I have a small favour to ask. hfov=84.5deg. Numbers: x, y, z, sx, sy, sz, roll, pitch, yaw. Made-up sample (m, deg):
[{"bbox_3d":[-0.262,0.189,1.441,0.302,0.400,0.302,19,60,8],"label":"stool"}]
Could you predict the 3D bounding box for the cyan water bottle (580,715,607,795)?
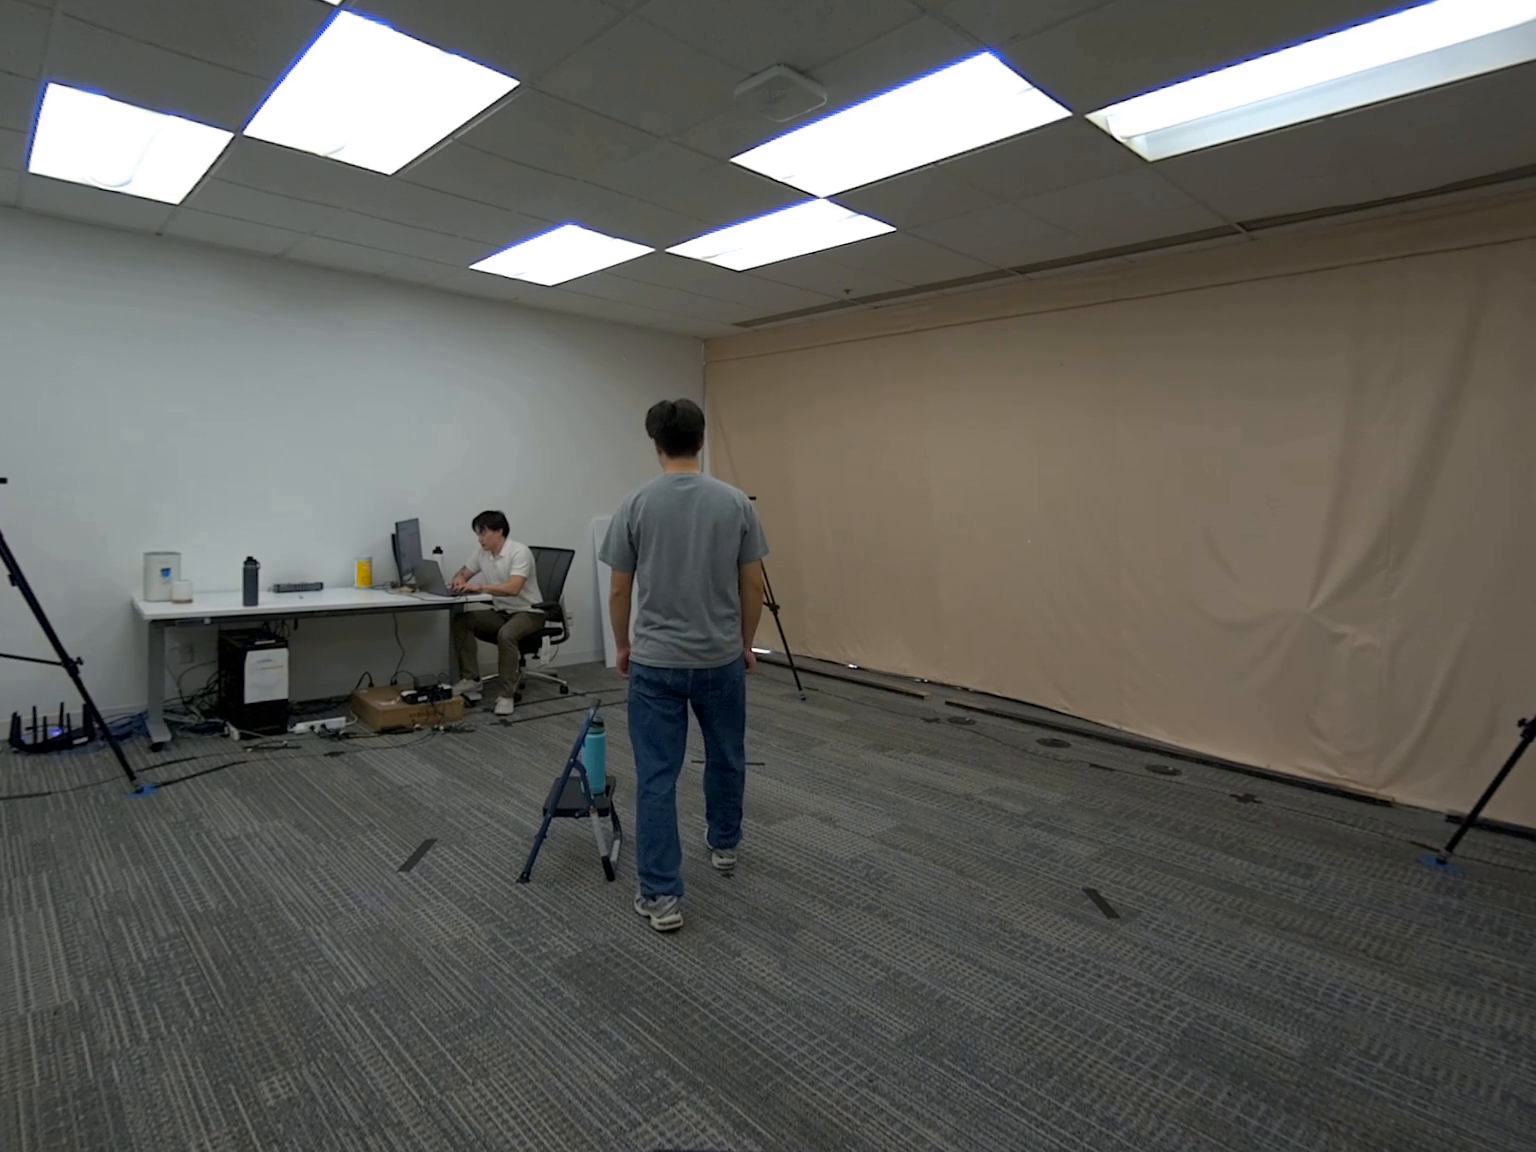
[{"bbox_3d":[-0.670,0.684,3.212,0.092,0.283,0.092,-1,3,-1],"label":"cyan water bottle"}]
